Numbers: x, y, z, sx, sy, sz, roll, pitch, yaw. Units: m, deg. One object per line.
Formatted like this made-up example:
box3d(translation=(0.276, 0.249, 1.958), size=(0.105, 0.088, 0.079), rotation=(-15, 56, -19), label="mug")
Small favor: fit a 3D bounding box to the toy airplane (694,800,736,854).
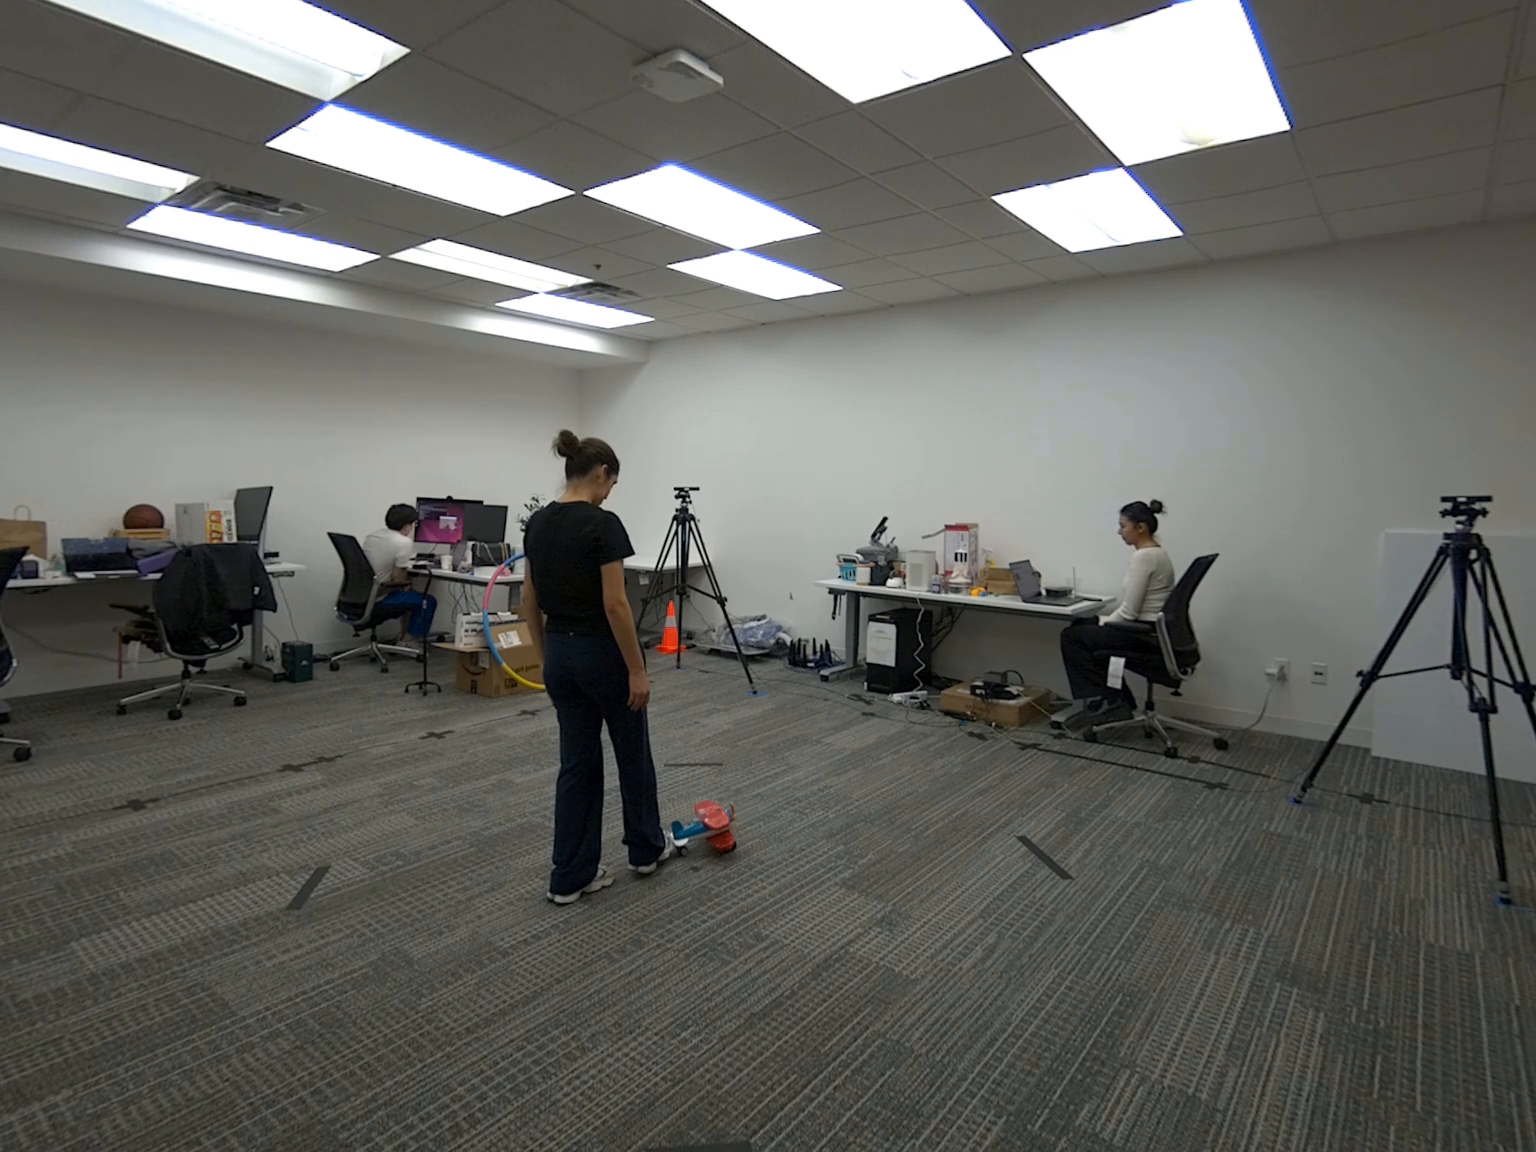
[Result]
box3d(translation=(-0.217, 0.975, 3.266), size=(0.260, 0.156, 0.251), rotation=(7, 7, 43), label="toy airplane")
